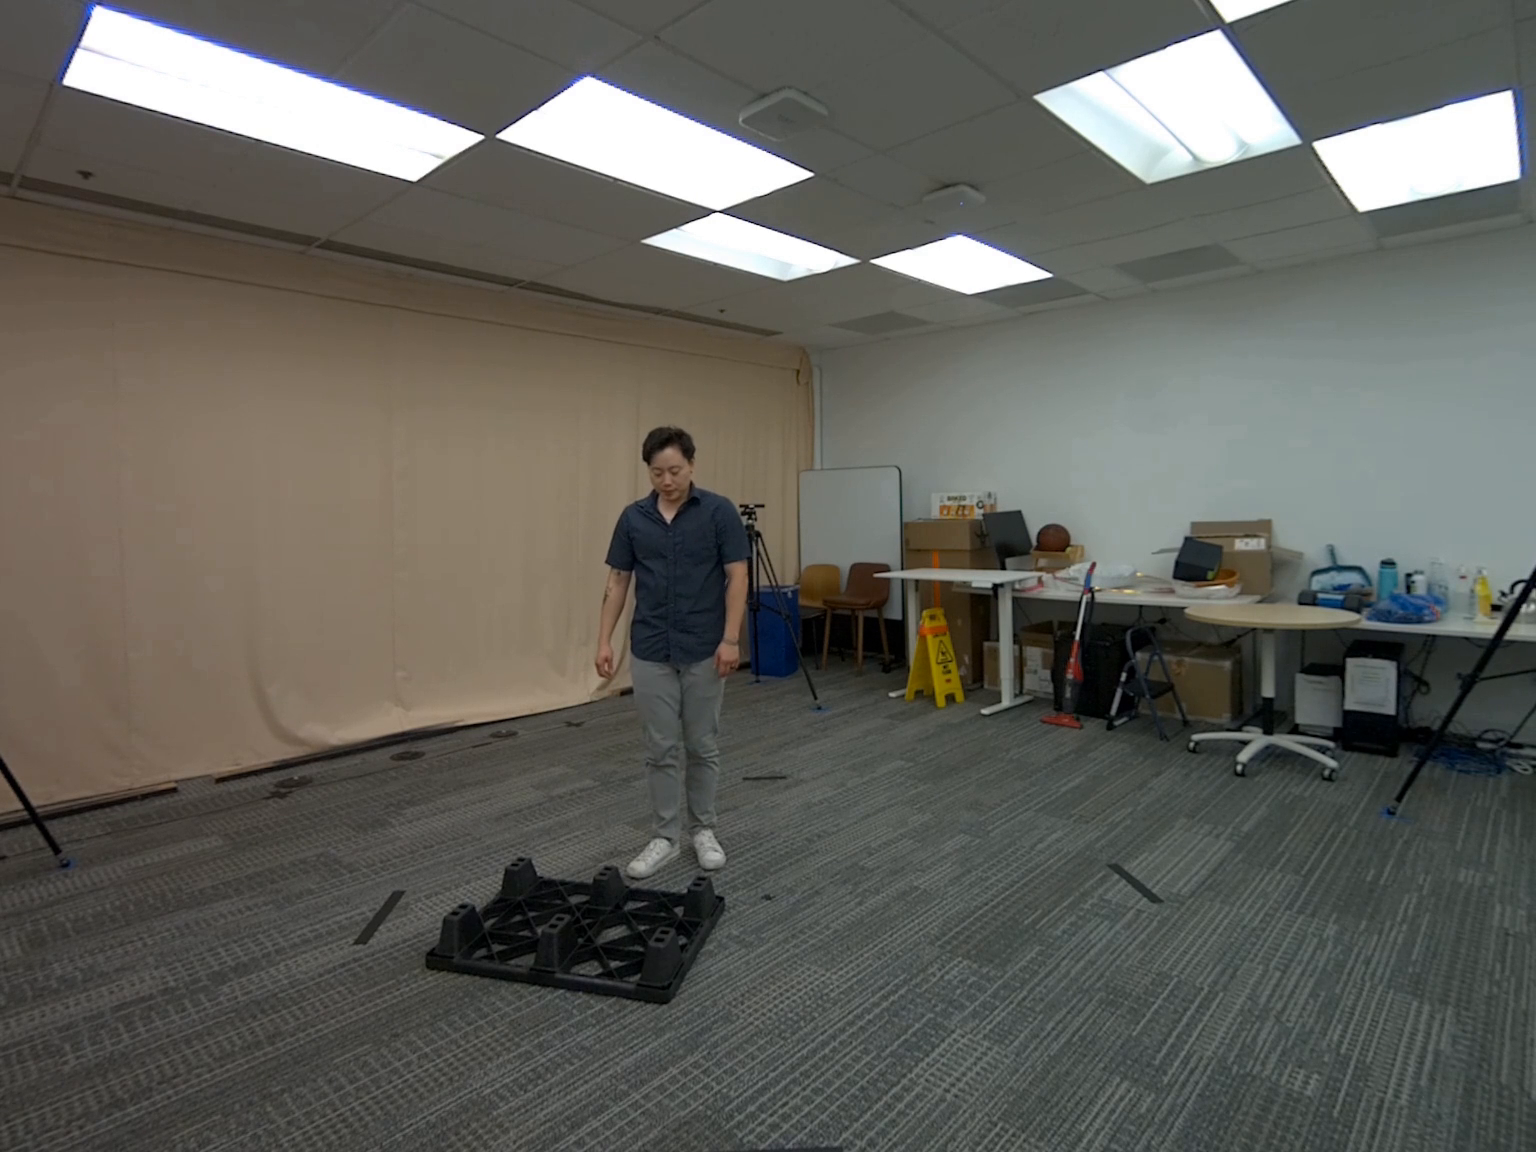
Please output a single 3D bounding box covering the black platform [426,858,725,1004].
[{"bbox_3d":[-0.604,1.111,2.732,0.819,0.143,0.597,0,4,15],"label":"black platform"}]
